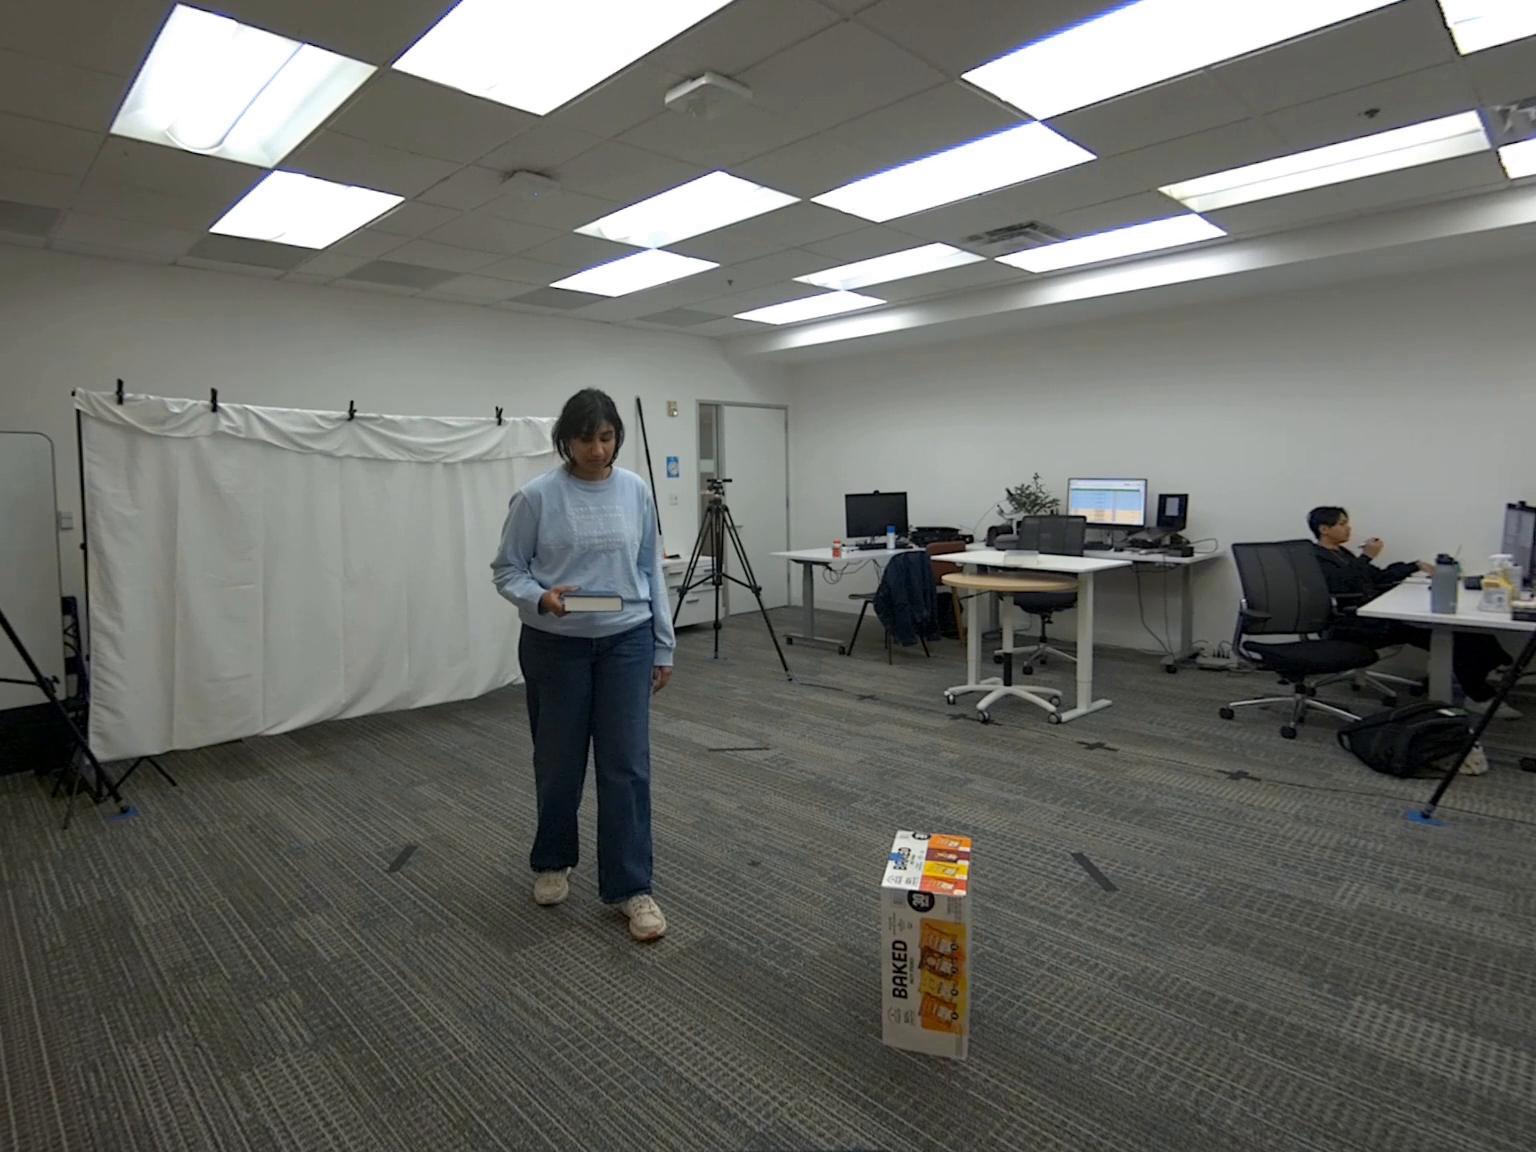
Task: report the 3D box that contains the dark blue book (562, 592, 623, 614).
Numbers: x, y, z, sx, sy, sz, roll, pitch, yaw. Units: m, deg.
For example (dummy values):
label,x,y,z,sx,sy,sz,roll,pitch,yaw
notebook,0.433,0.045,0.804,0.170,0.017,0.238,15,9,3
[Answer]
label,x,y,z,sx,sy,sz,roll,pitch,yaw
dark blue book,-0.503,0.076,2.453,0.163,0.045,0.246,0,1,-4
